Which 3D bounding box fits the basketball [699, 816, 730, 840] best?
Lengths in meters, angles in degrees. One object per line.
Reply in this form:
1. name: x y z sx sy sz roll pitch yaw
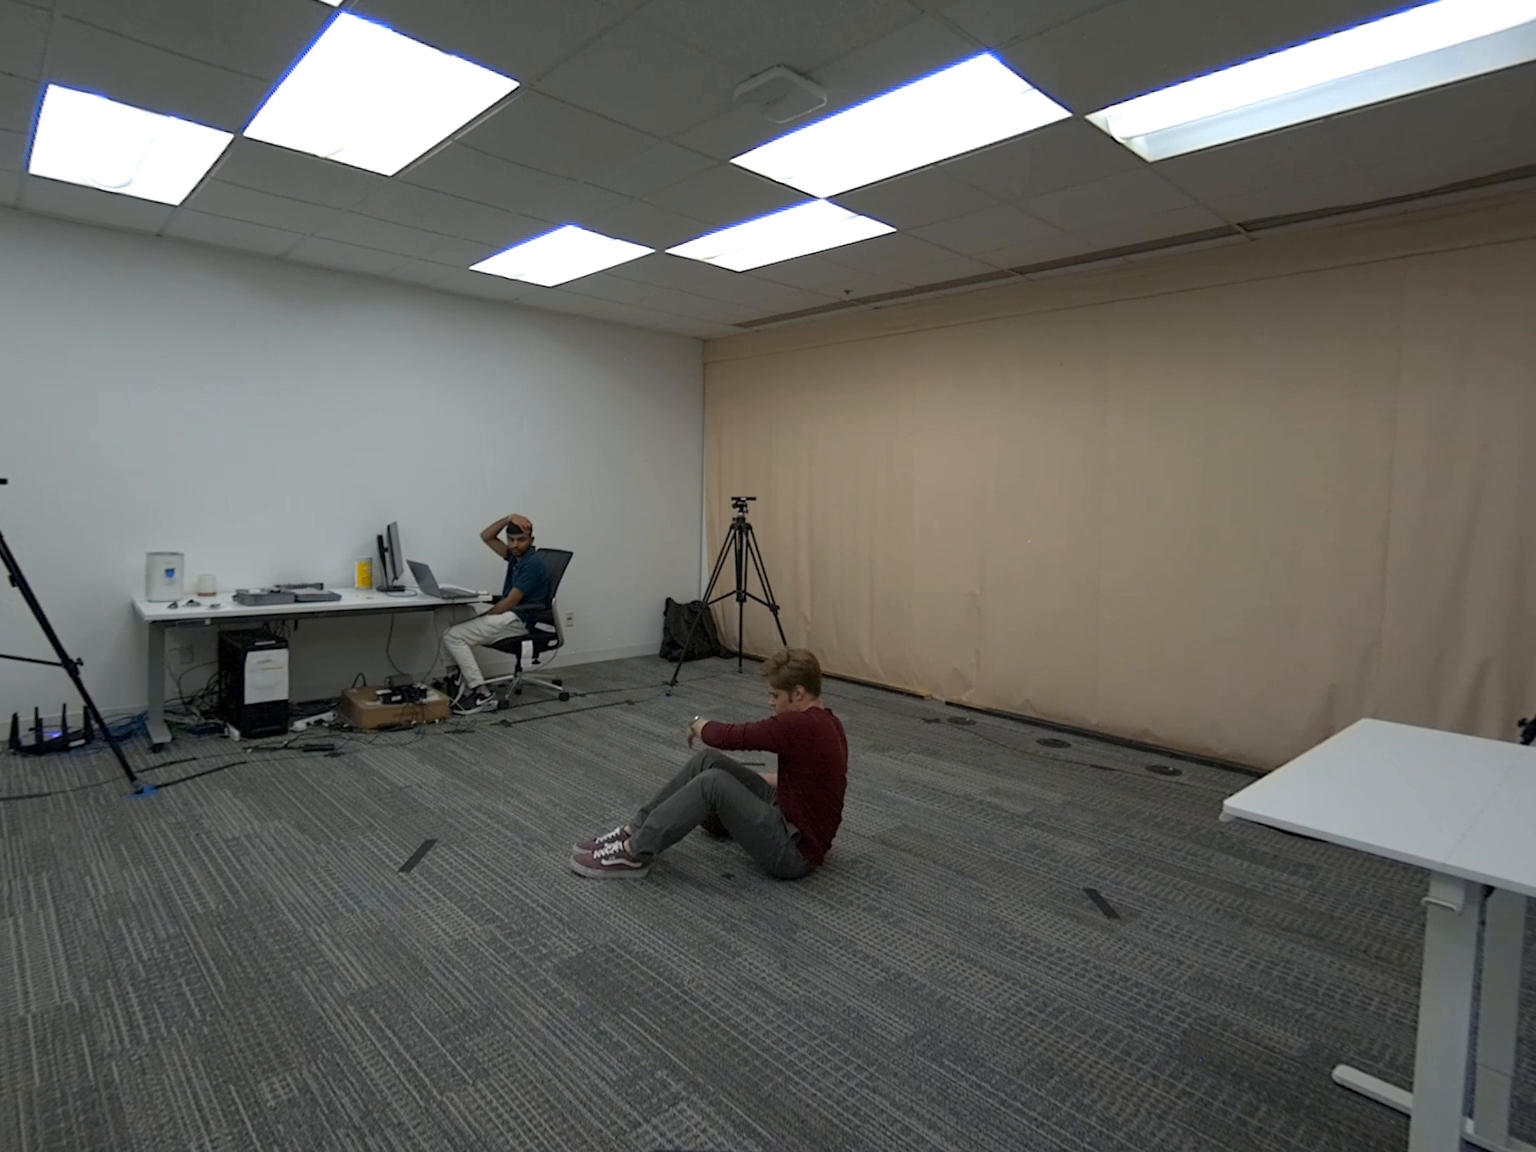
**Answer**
1. basketball: -0.193 0.949 3.498 0.236 0.235 0.237 1 4 -1
